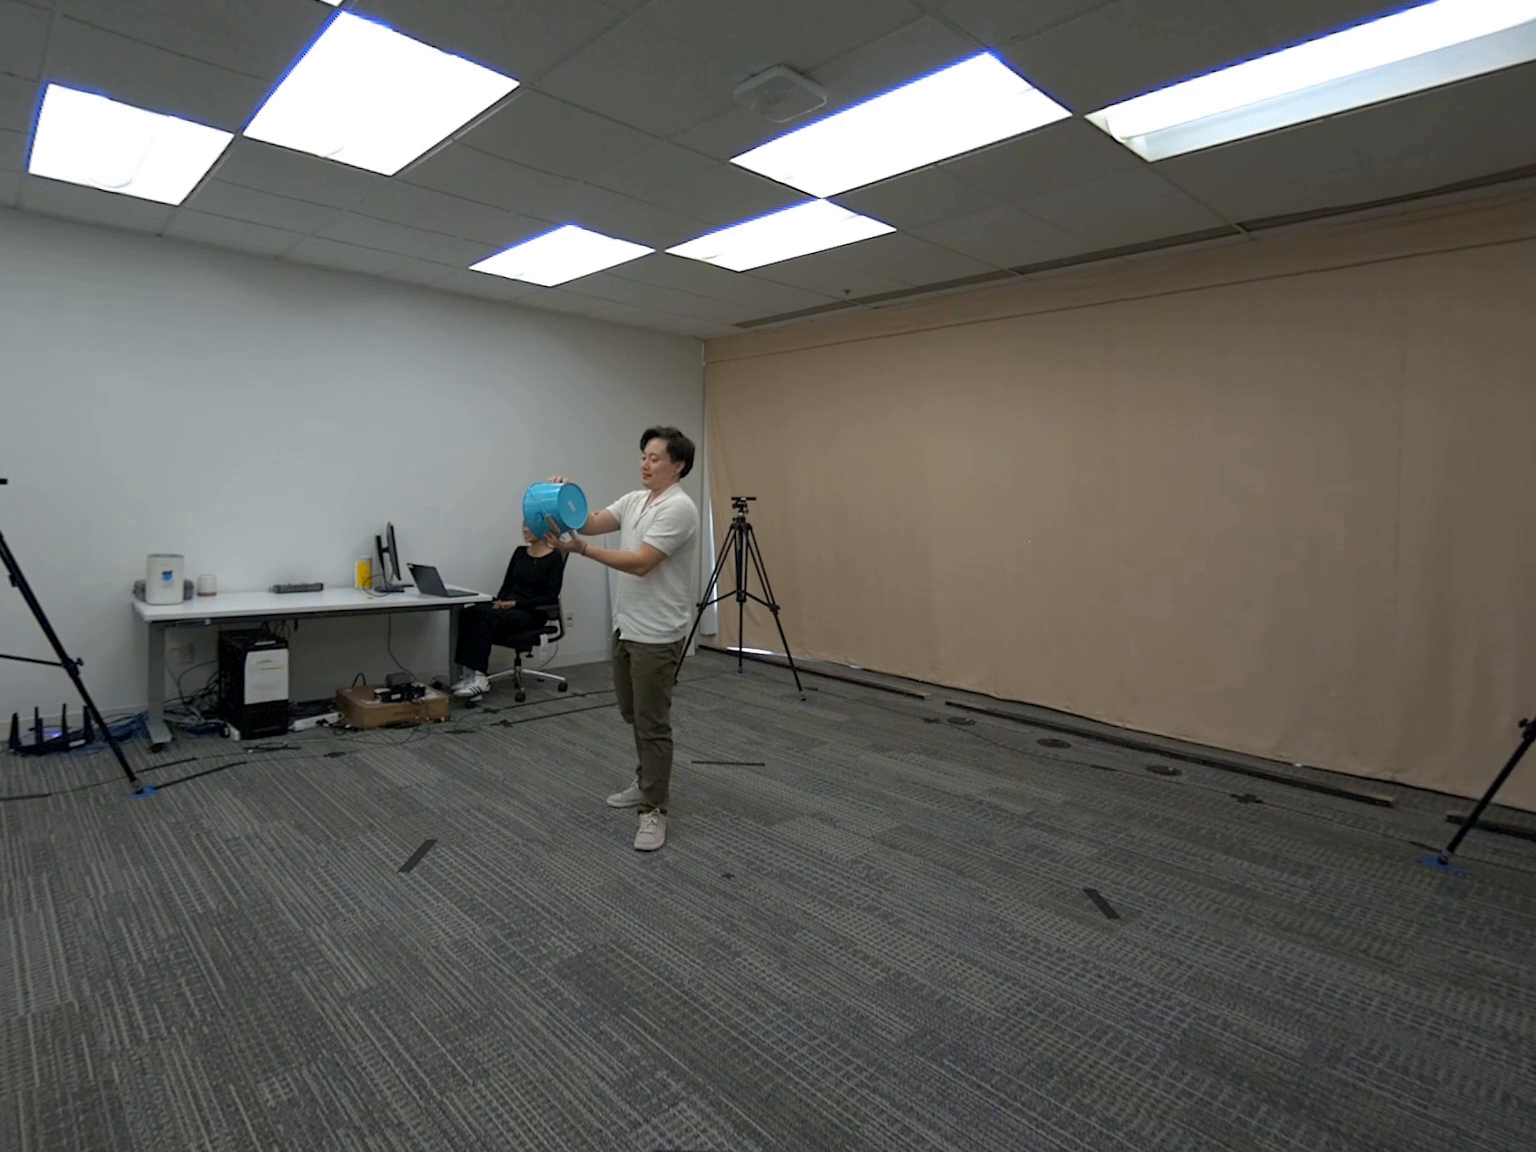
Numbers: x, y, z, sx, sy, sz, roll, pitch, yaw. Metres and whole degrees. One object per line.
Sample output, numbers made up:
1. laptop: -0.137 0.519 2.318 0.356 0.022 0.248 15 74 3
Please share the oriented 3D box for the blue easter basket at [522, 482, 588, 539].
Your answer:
1. blue easter basket: -0.829 -0.256 3.276 0.158 0.244 0.239 -9 -1 27
